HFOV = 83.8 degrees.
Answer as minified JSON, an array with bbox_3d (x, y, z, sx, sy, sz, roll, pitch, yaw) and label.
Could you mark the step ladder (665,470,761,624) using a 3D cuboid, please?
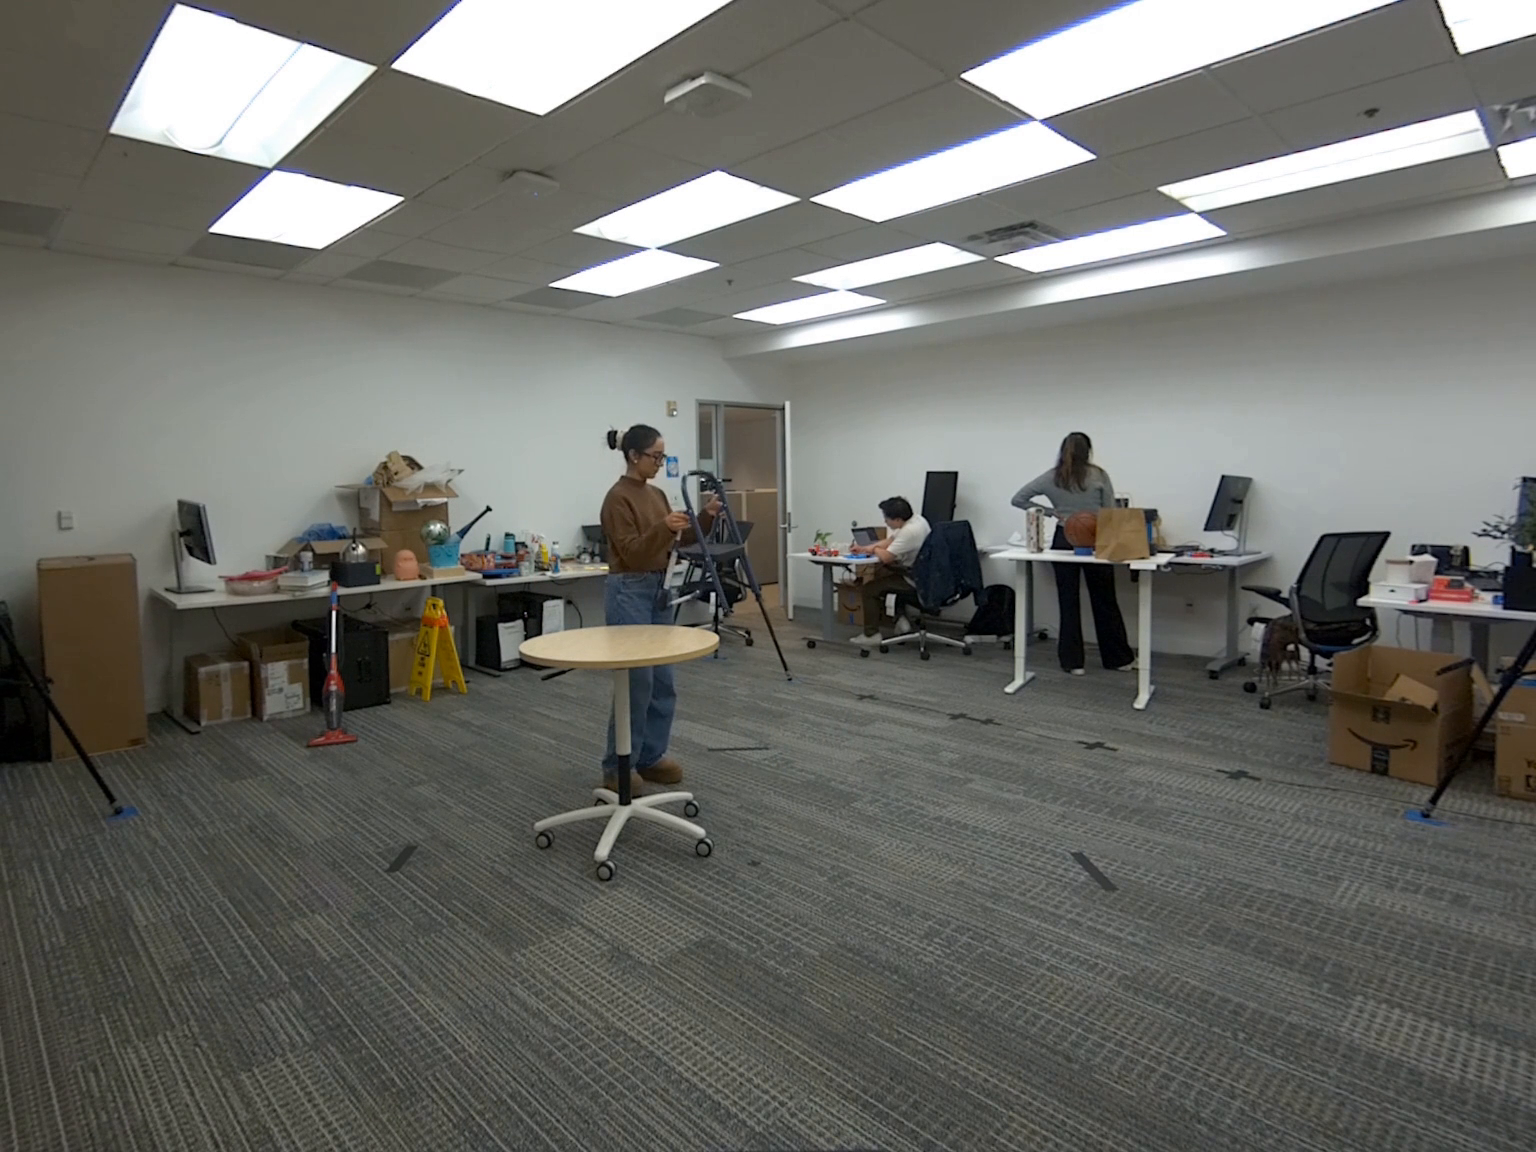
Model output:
[{"bbox_3d":[-0.257,-0.162,3.803,0.356,0.603,0.425,2,7,18],"label":"step ladder"}]
